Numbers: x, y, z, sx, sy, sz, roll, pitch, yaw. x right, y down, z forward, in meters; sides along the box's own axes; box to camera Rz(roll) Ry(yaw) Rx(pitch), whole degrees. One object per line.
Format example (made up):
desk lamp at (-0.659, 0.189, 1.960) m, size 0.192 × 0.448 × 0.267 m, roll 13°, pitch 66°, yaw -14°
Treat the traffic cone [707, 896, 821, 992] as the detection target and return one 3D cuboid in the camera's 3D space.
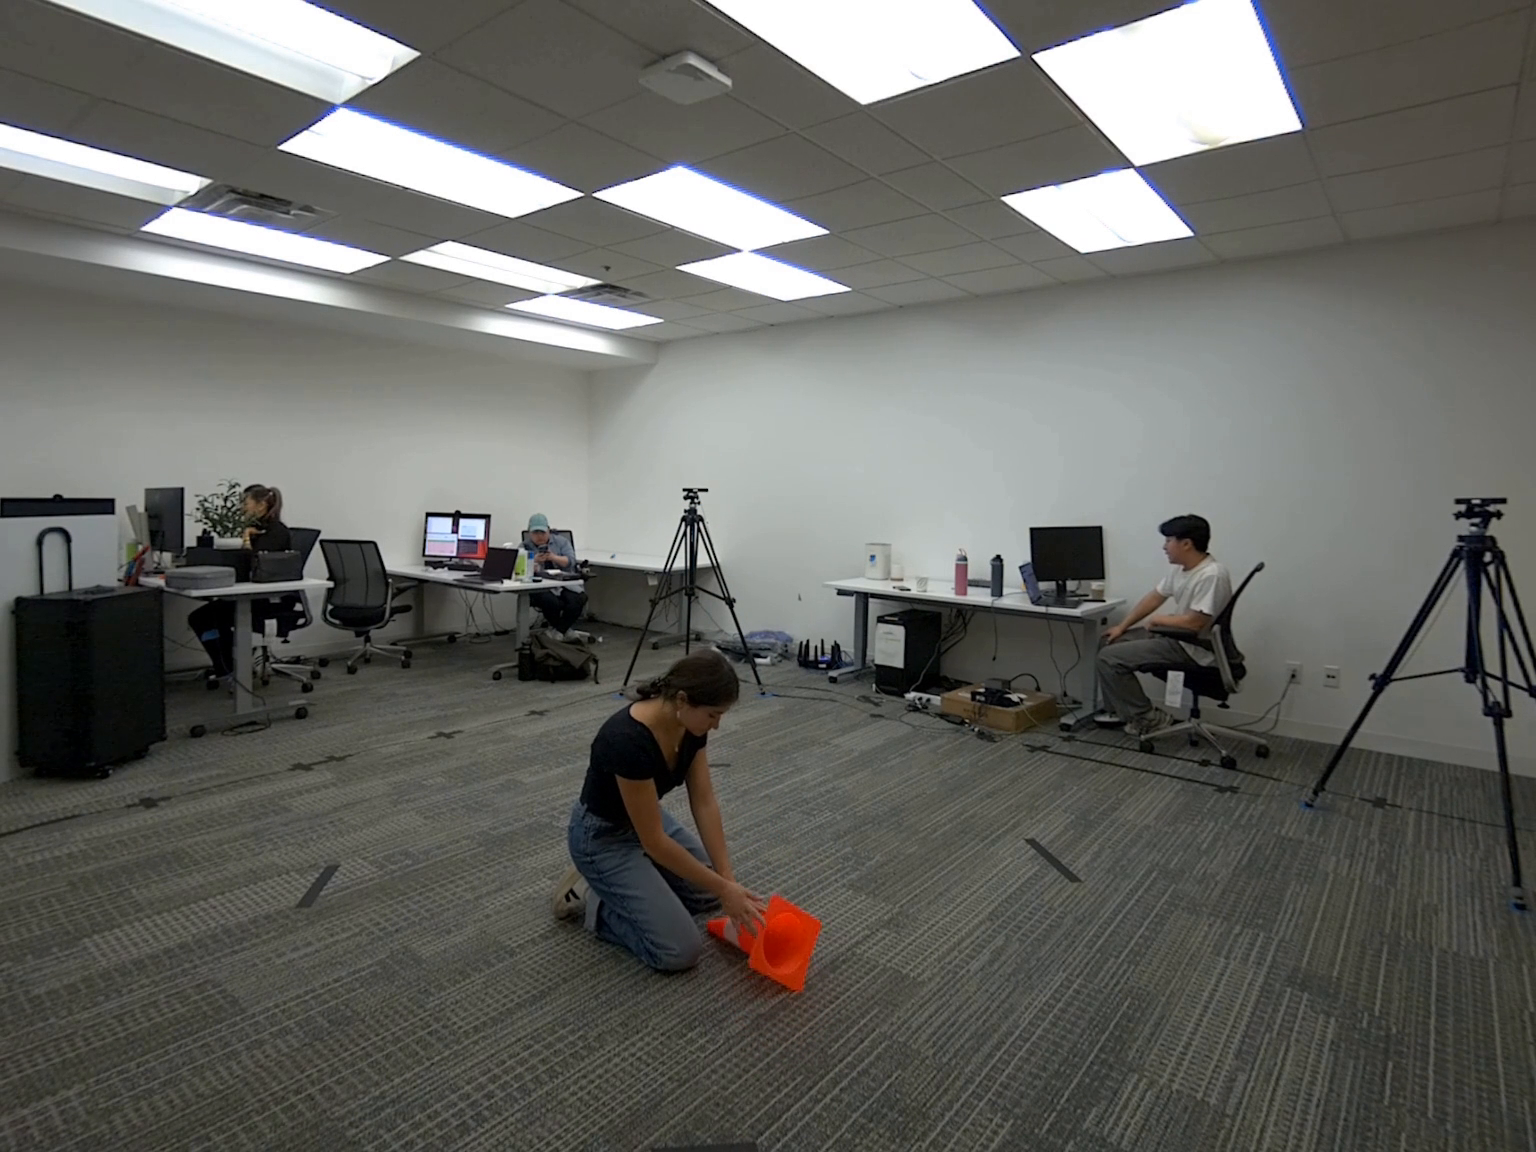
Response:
traffic cone at (-0.063, 1.065, 2.532) m, size 0.199 × 0.206 × 0.391 m, roll 38°, pitch -32°, yaw -24°
